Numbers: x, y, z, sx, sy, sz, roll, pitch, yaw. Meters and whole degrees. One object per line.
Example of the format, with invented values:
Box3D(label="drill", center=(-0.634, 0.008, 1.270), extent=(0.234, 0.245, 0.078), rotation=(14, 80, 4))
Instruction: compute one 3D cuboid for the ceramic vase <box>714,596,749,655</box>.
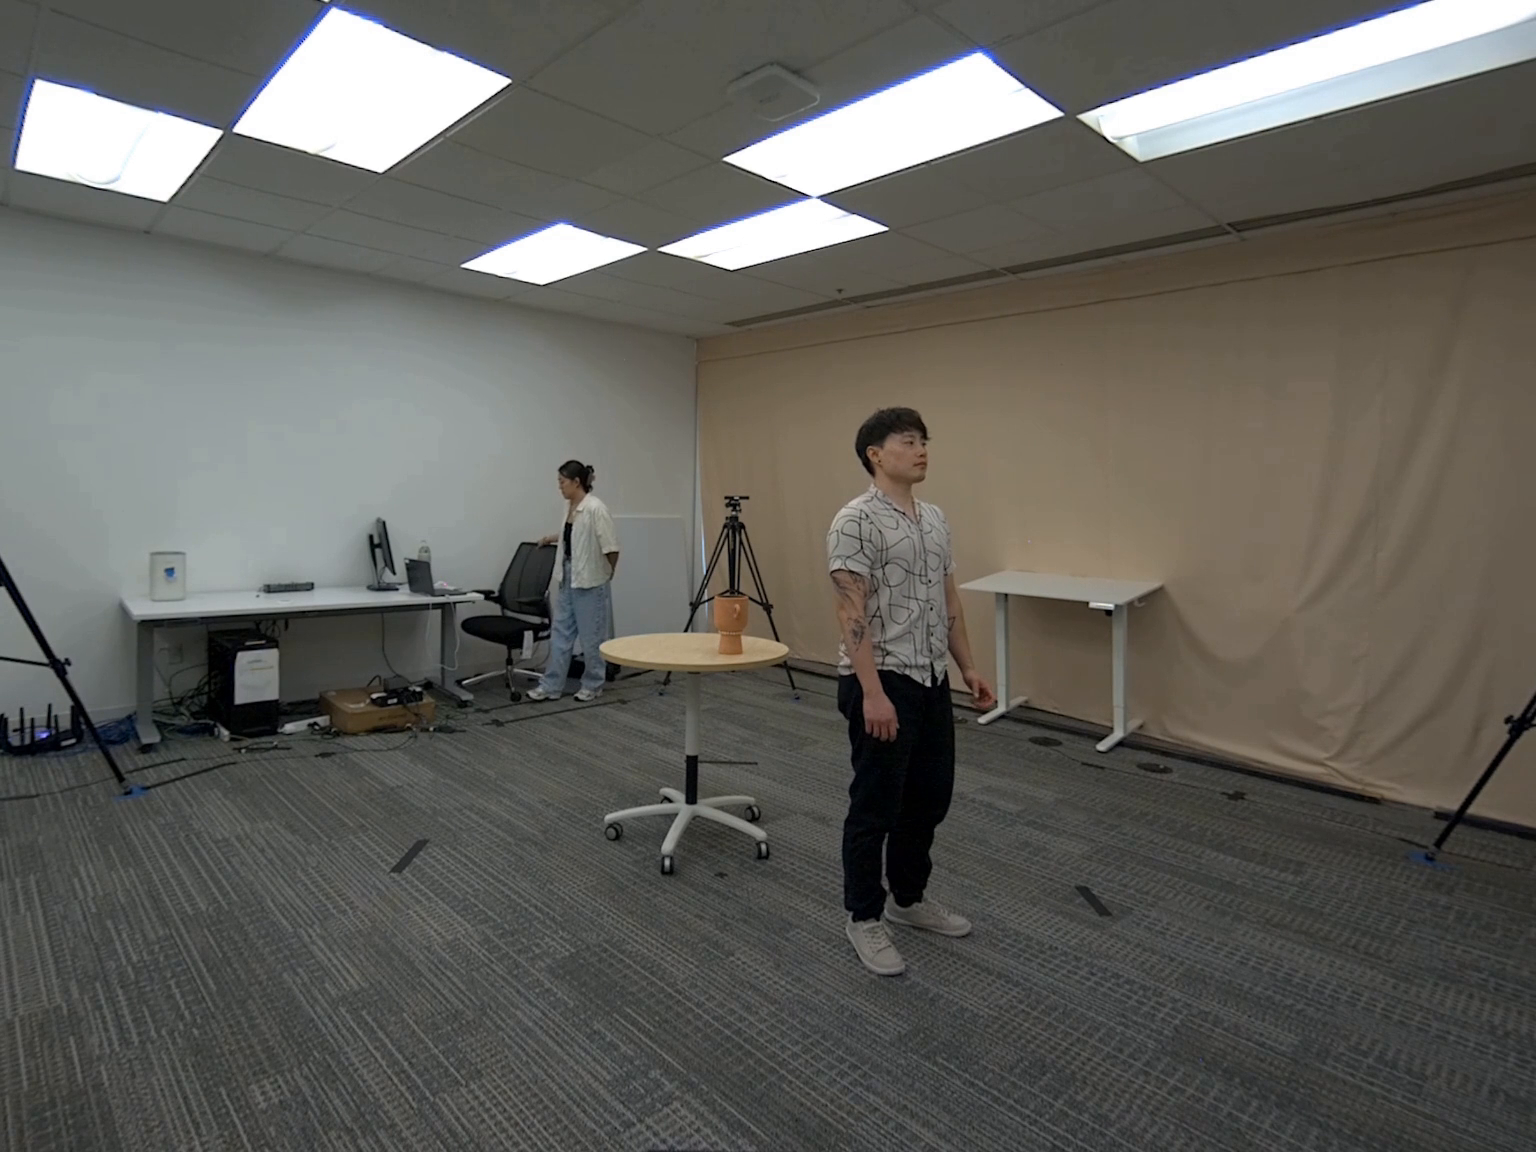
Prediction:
Box3D(label="ceramic vase", center=(-0.149, 0.192, 3.293), extent=(0.137, 0.219, 0.156), rotation=(3, 3, 21))
